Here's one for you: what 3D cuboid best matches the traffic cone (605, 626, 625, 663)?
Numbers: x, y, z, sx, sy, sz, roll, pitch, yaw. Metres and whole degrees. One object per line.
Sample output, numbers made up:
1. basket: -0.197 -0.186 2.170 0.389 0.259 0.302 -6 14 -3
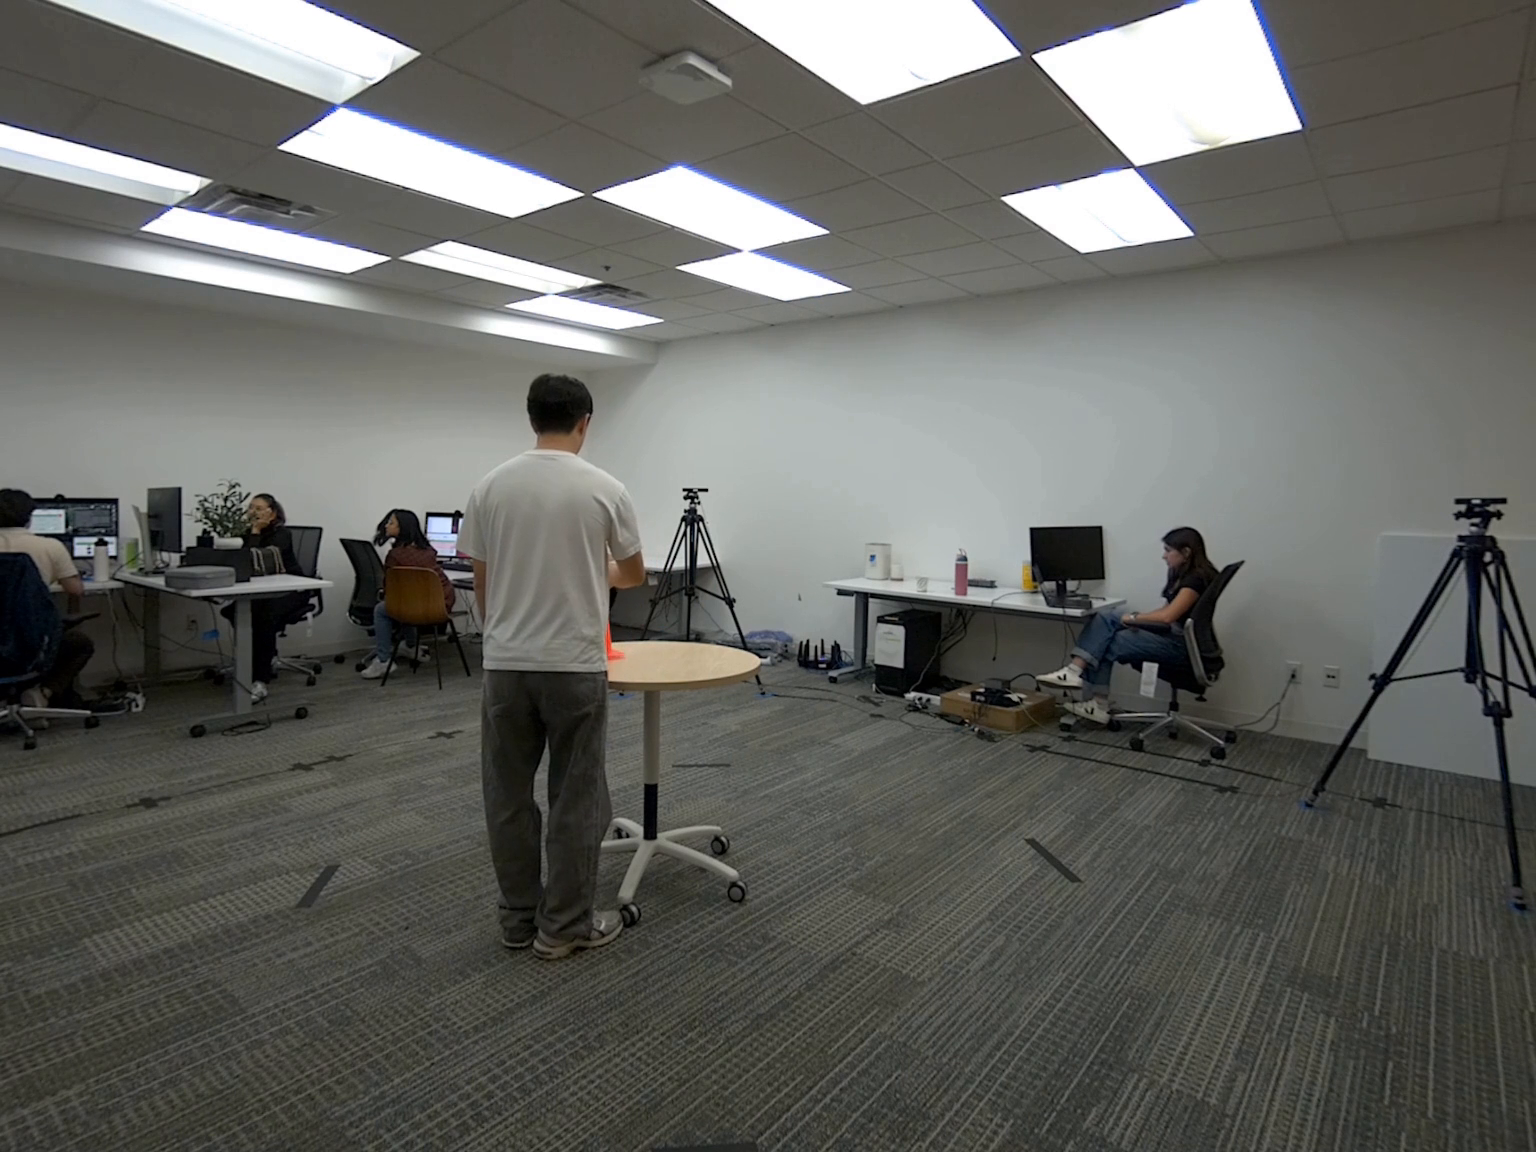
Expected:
1. traffic cone: -0.613 0.067 3.045 0.210 0.383 0.199 5 3 35
